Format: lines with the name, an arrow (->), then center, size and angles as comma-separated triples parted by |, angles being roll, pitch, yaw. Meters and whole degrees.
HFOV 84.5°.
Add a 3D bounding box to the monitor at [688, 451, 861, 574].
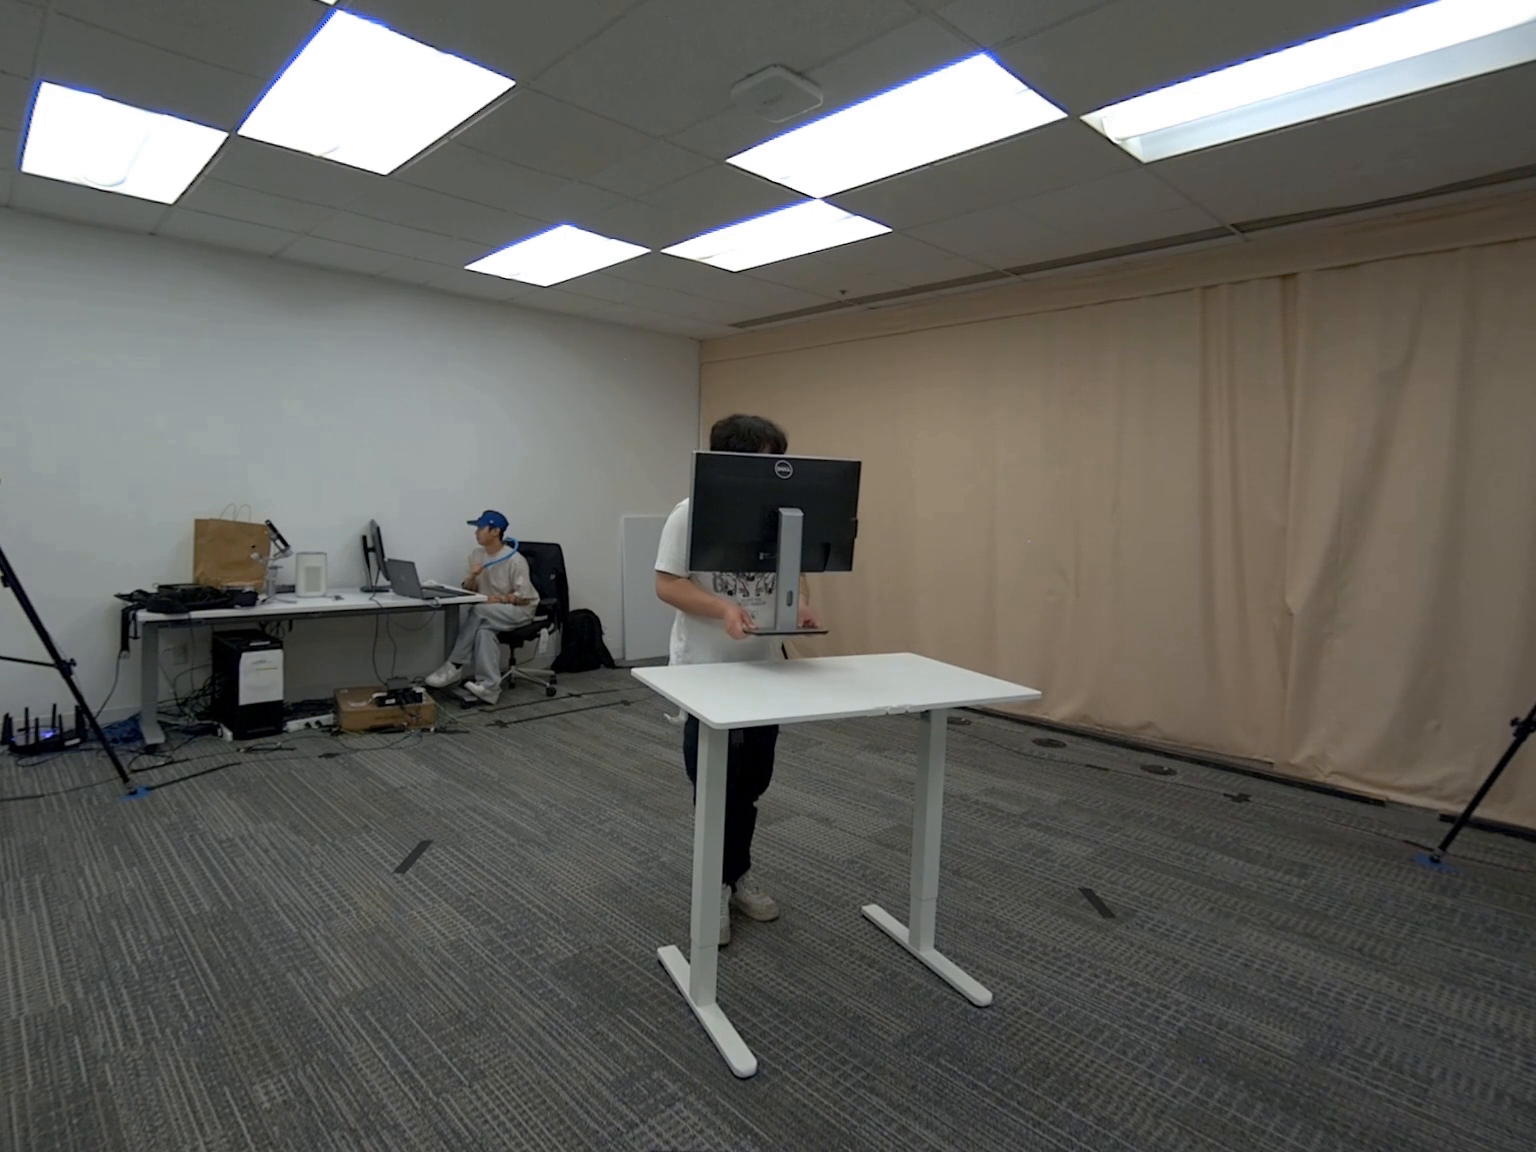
monitor -> 0.039, -0.093, 2.532 | 0.556, 0.553, 0.214 | 1, 3, -22
